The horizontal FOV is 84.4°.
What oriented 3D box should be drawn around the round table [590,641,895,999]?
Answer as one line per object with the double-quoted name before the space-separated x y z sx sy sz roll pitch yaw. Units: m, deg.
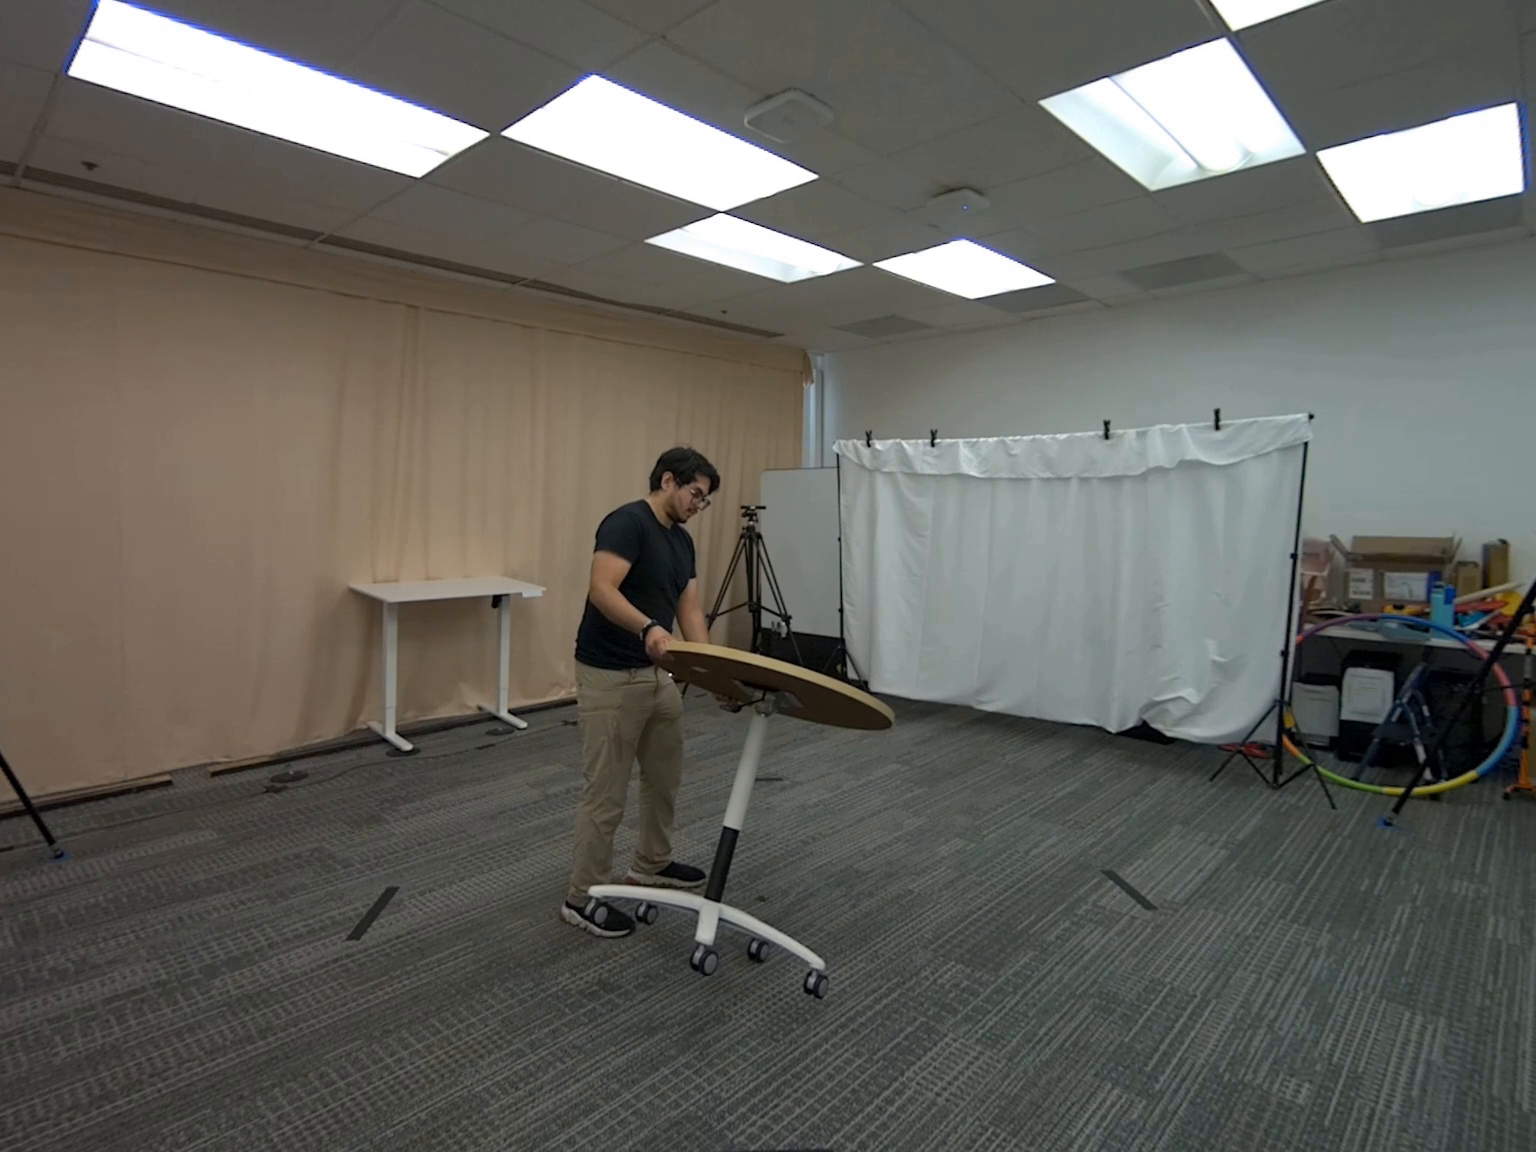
"round table" -0.092 0.693 2.460 0.789 0.790 0.777 15 -17 3
